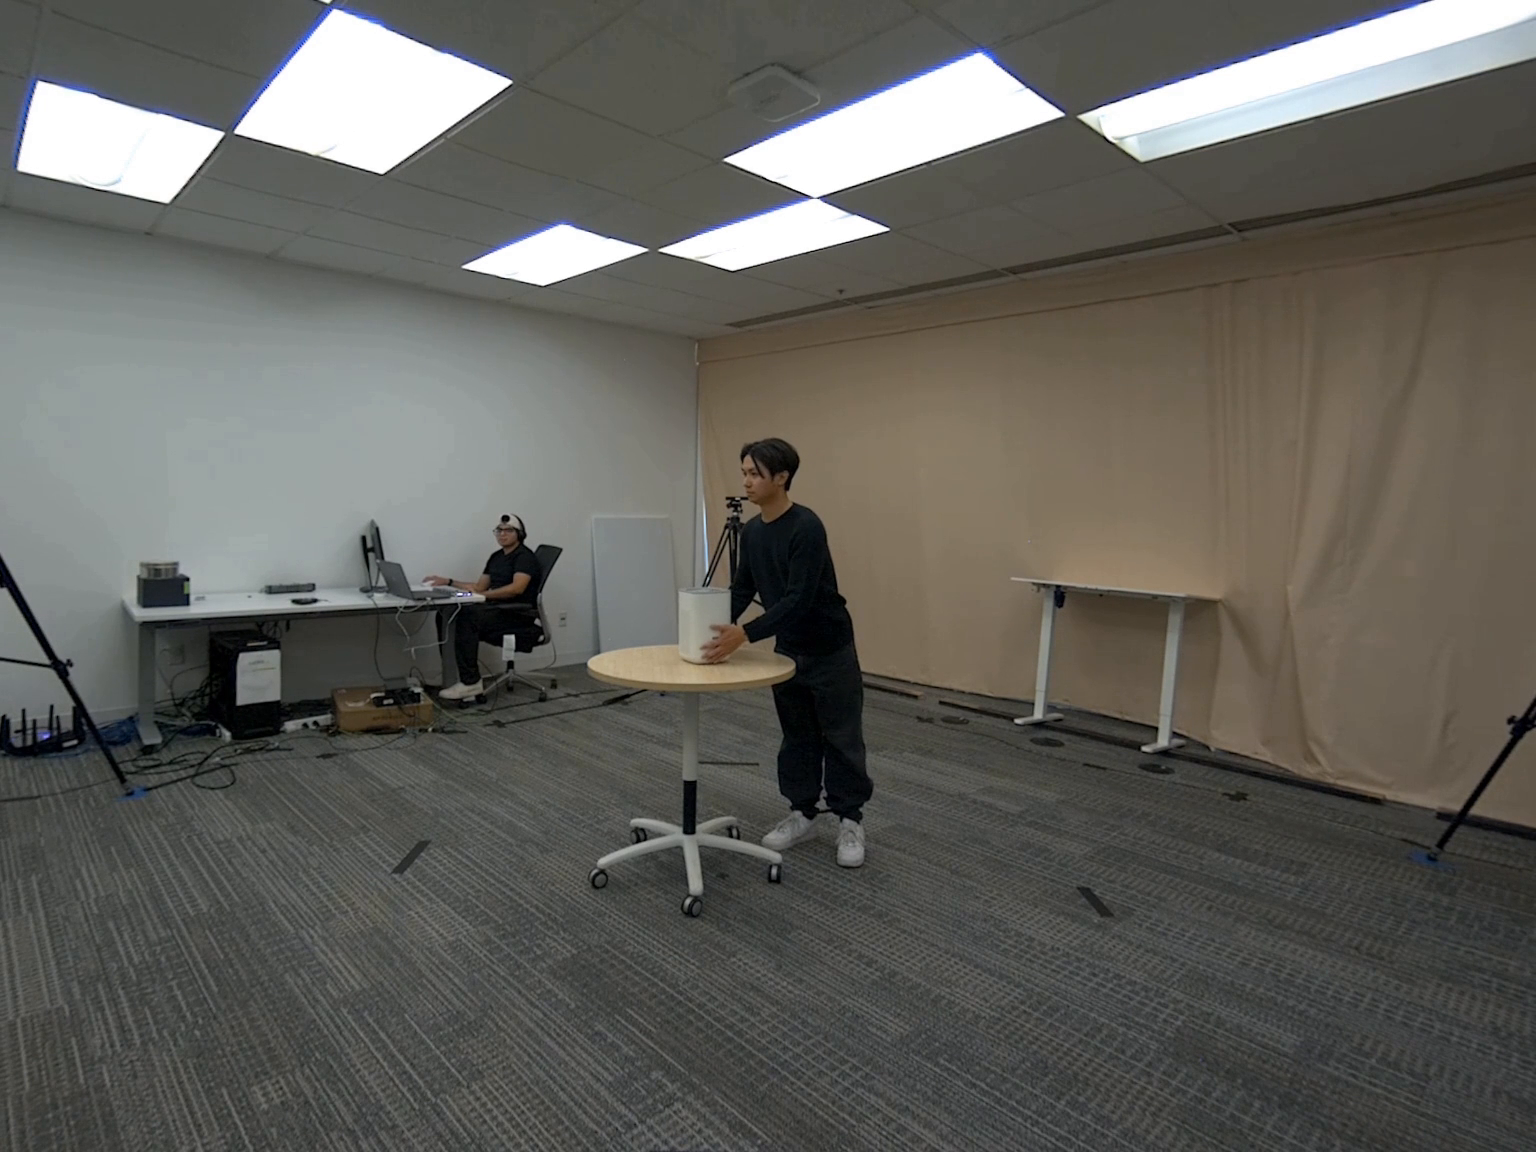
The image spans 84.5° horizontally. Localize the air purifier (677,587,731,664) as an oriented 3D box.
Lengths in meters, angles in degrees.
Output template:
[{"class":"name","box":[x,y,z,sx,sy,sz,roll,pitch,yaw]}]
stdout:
[{"class":"air purifier","box":[-0.241,0.183,3.134,0.168,0.265,0.175,-2,3,-30]}]
